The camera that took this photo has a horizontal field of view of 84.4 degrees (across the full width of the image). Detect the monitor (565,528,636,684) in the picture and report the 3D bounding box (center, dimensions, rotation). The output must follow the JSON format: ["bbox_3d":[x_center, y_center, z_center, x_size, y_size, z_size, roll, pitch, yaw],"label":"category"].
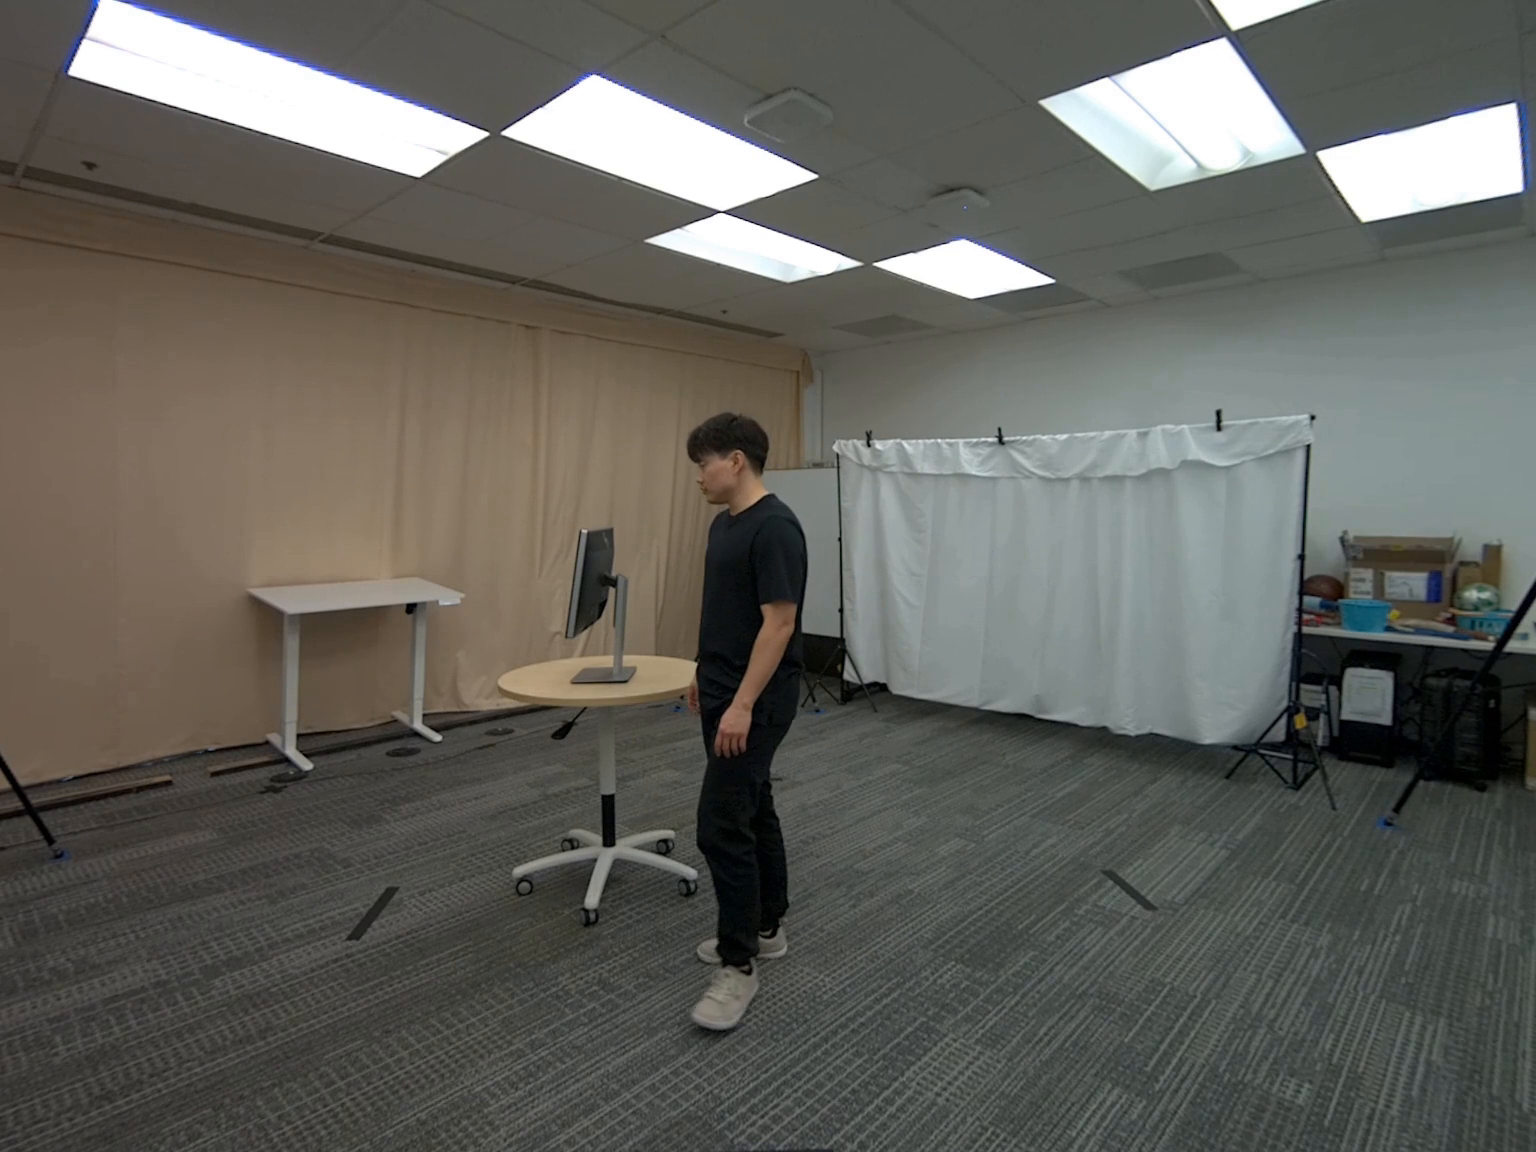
[{"bbox_3d":[-0.590,0.101,3.036,0.187,0.521,0.541,-3,4,-3],"label":"monitor"}]
